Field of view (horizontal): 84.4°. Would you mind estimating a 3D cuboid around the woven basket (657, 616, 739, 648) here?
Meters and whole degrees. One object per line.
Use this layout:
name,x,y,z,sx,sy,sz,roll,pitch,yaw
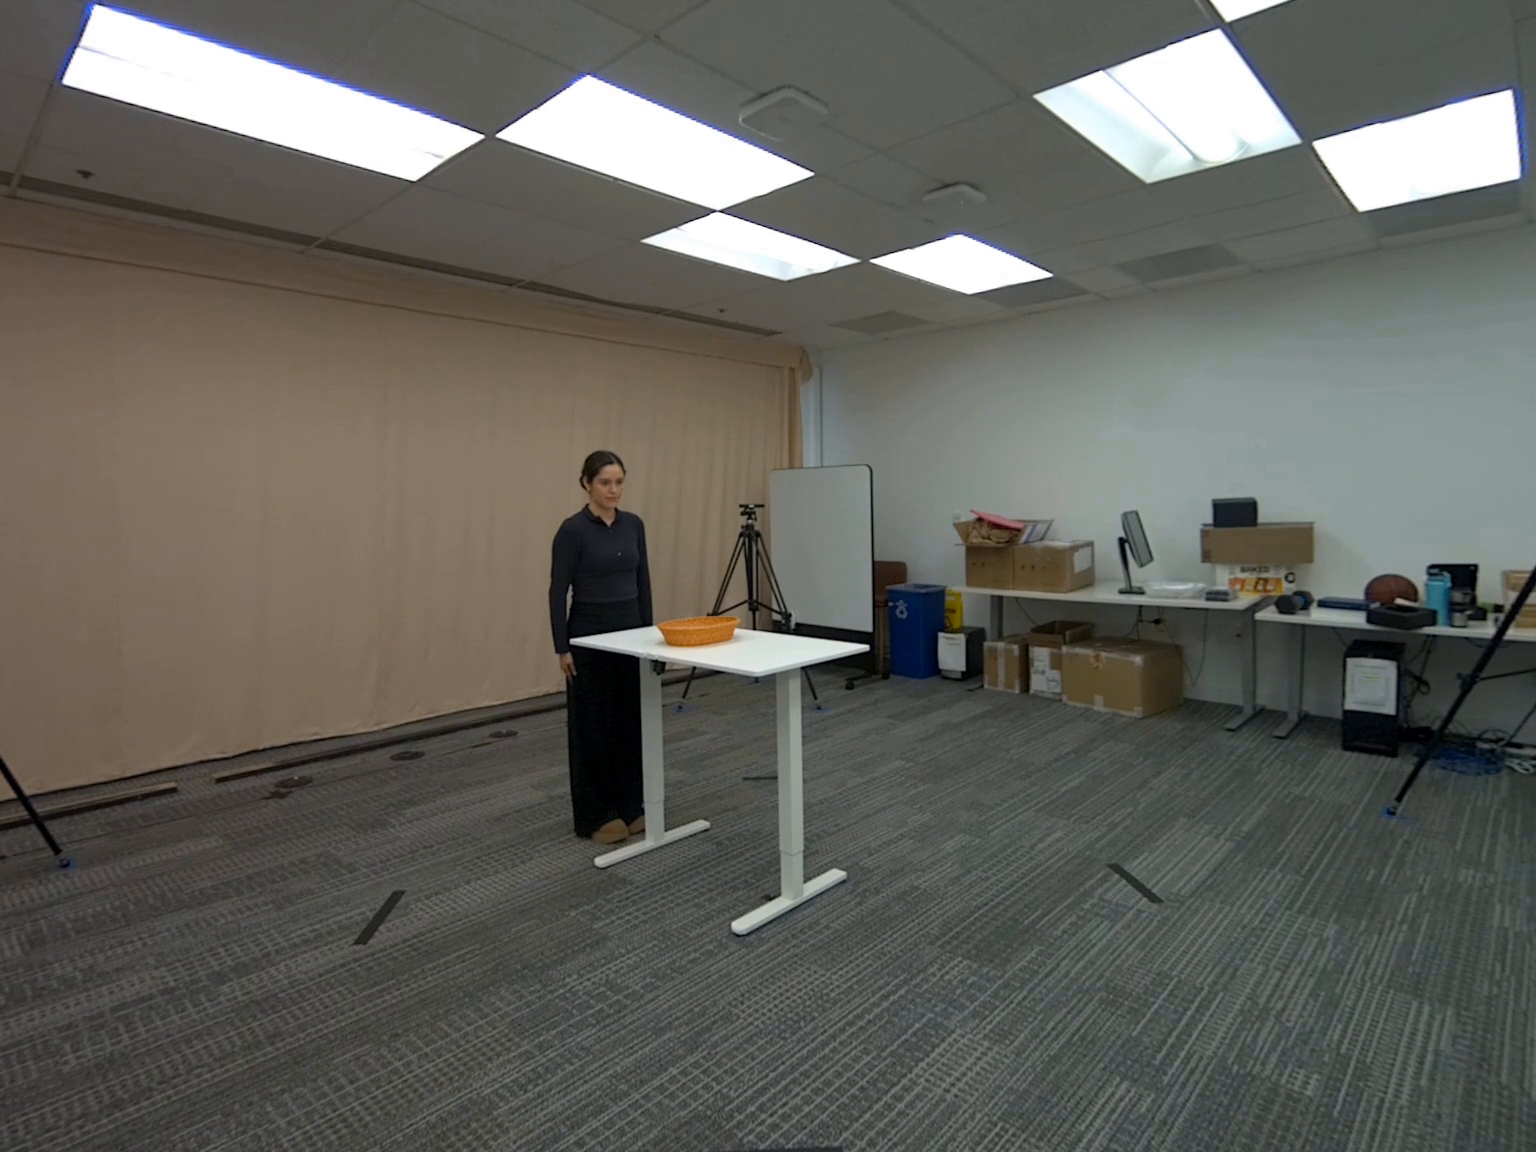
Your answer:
woven basket,-0.270,0.214,3.190,0.340,0.073,0.261,-6,7,-42
